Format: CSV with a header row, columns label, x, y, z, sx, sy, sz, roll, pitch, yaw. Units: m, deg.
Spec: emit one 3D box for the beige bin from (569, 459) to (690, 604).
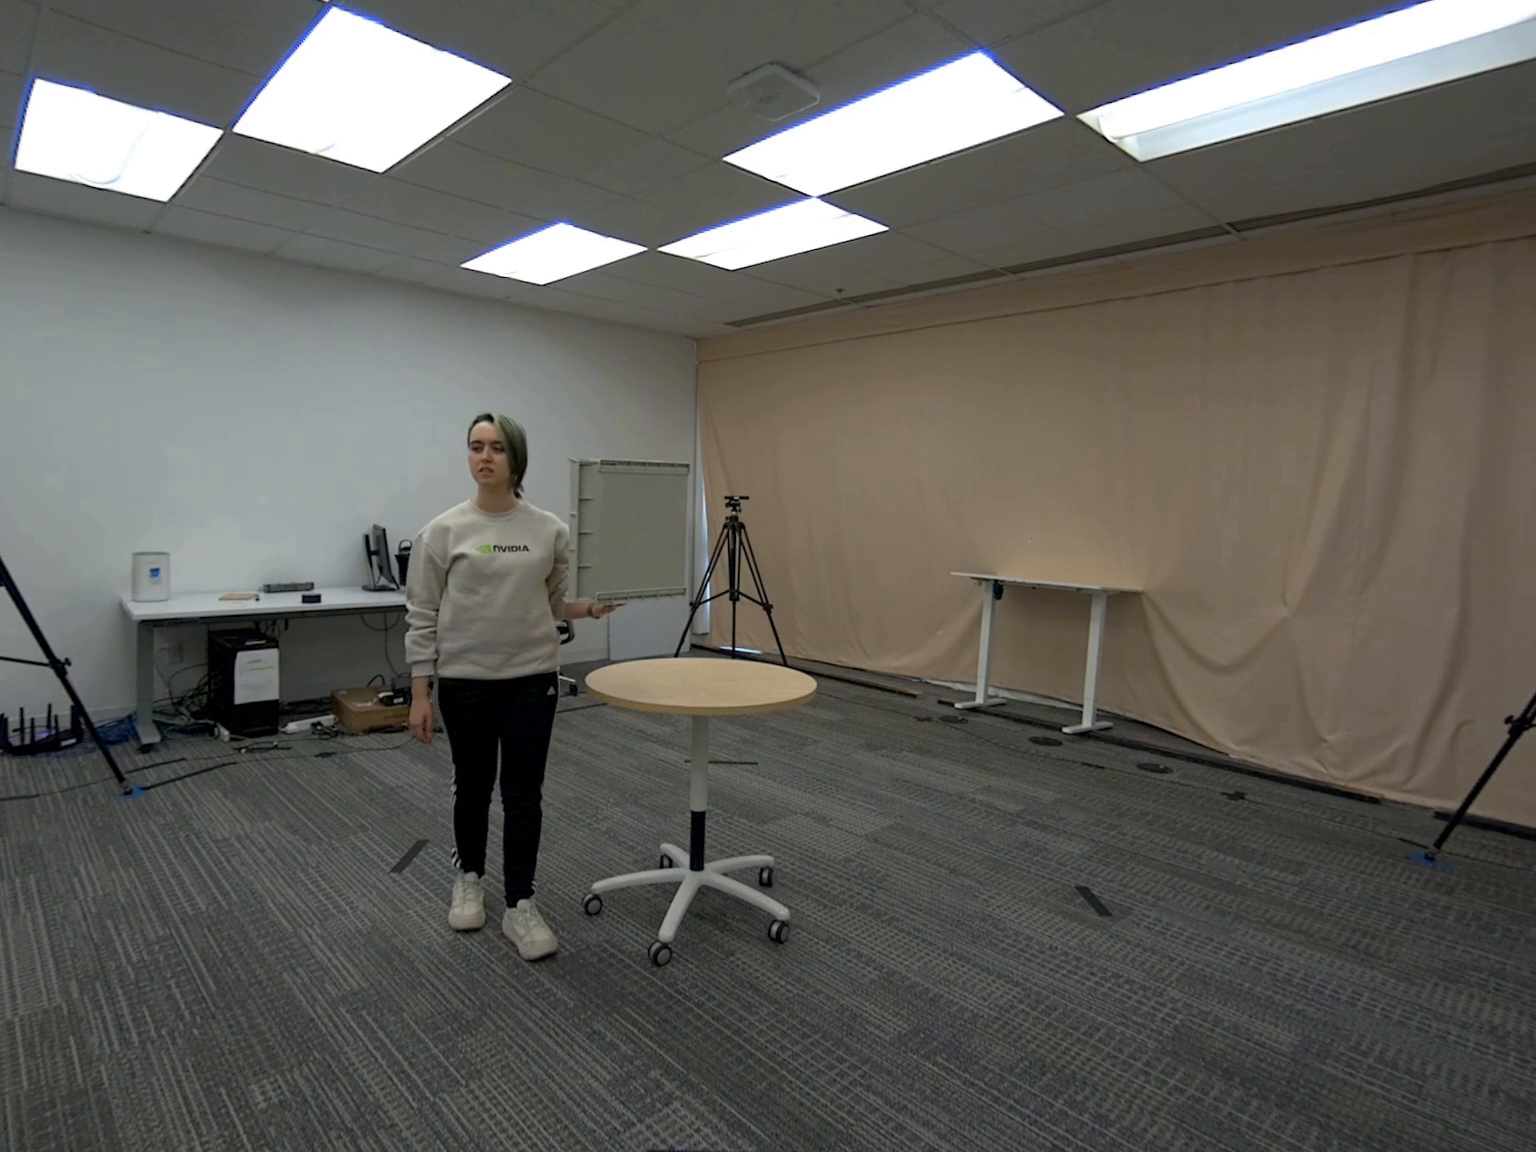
label,x,y,z,sx,sy,sz,roll,pitch,yaw
beige bin,-0.439,-0.142,2.517,0.369,0.421,0.194,-1,6,-39
